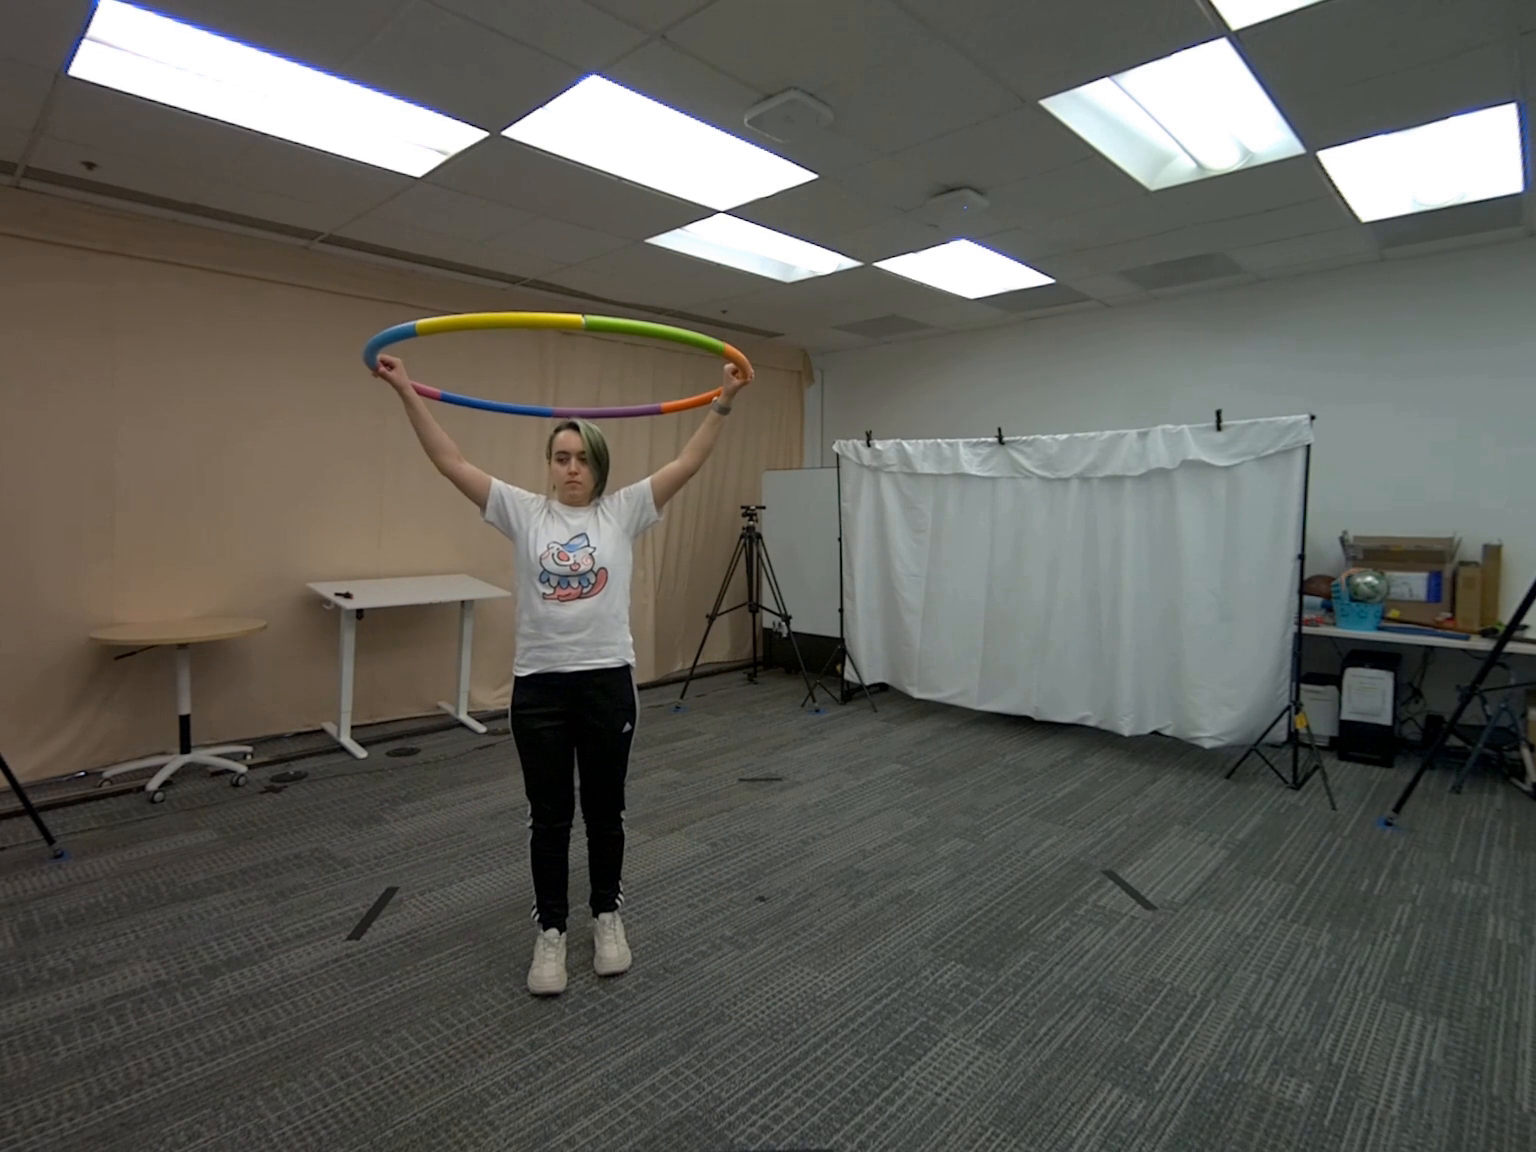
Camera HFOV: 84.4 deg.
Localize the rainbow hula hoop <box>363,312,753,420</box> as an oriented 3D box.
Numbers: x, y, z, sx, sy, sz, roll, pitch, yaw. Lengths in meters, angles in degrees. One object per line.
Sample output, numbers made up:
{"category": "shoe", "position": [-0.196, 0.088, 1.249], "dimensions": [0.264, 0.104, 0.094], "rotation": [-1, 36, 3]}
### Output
{"category": "rainbow hula hoop", "position": [-0.549, -0.536, 2.242], "dimensions": [0.984, 0.052, 0.985], "rotation": [0, -1, -2]}
